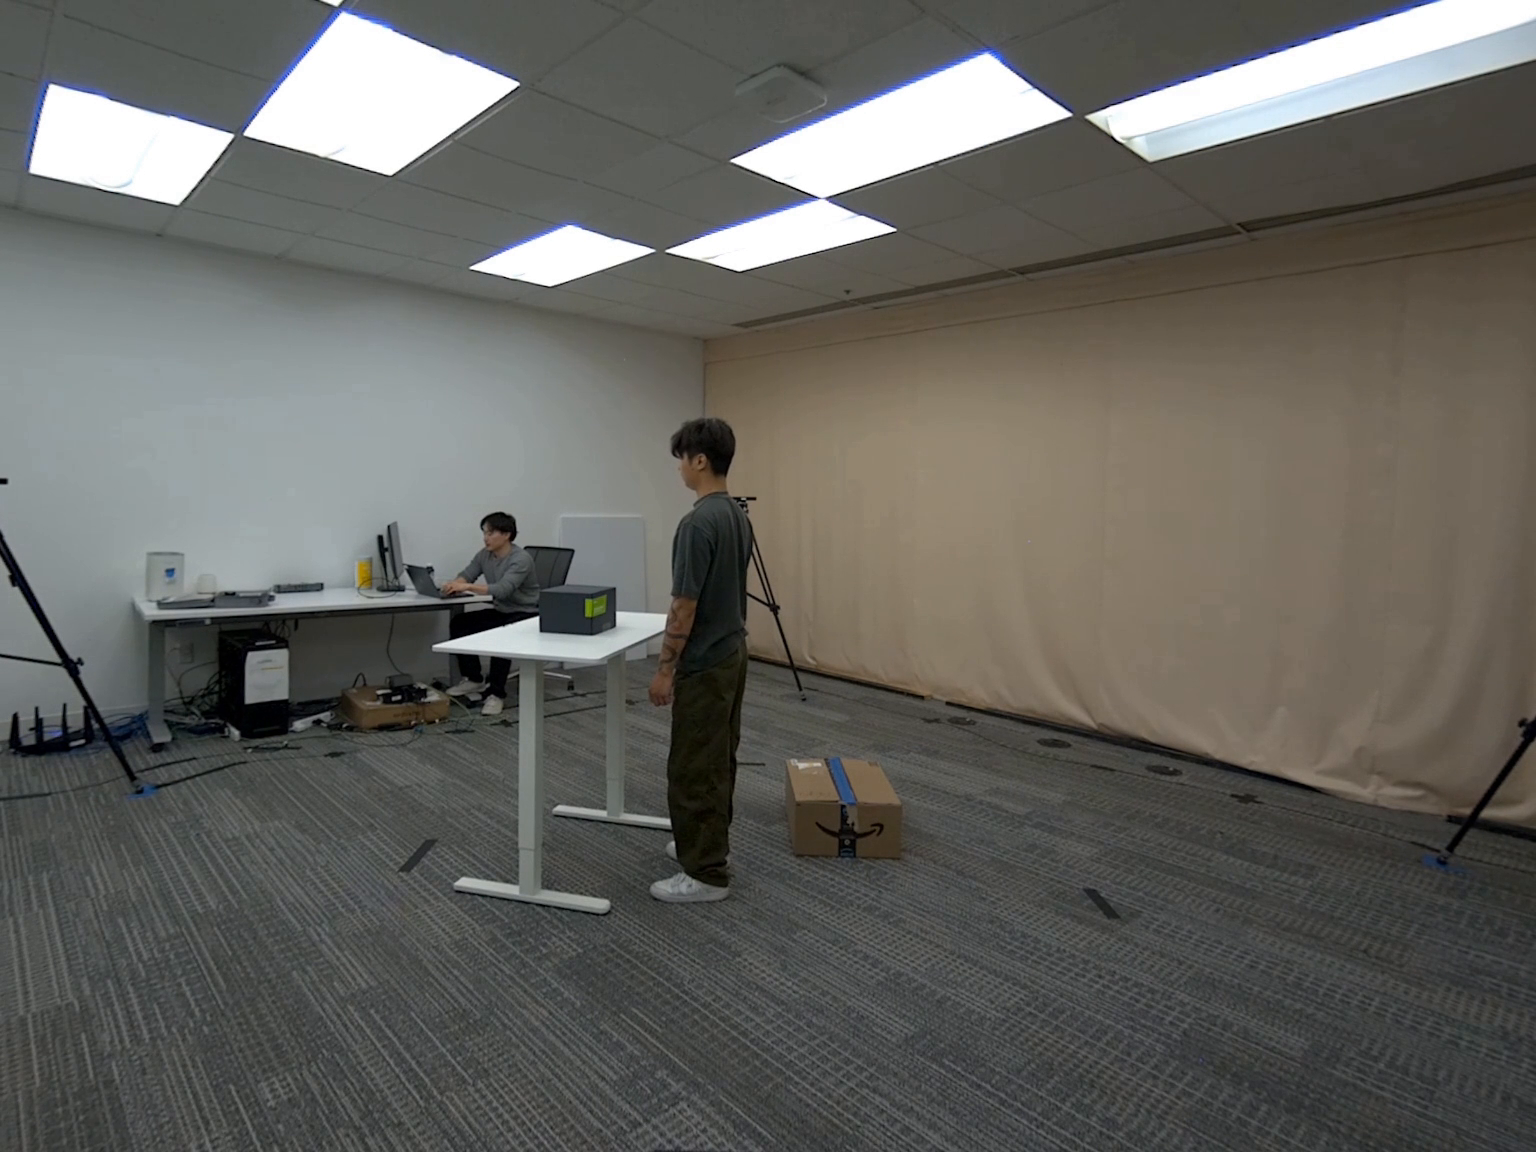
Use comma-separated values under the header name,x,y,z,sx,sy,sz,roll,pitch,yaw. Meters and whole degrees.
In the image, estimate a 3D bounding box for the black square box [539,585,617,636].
name,x,y,z,sx,sy,sz,roll,pitch,yaw
black square box,-0.725,0.121,3.184,0.219,0.155,0.226,1,6,14
